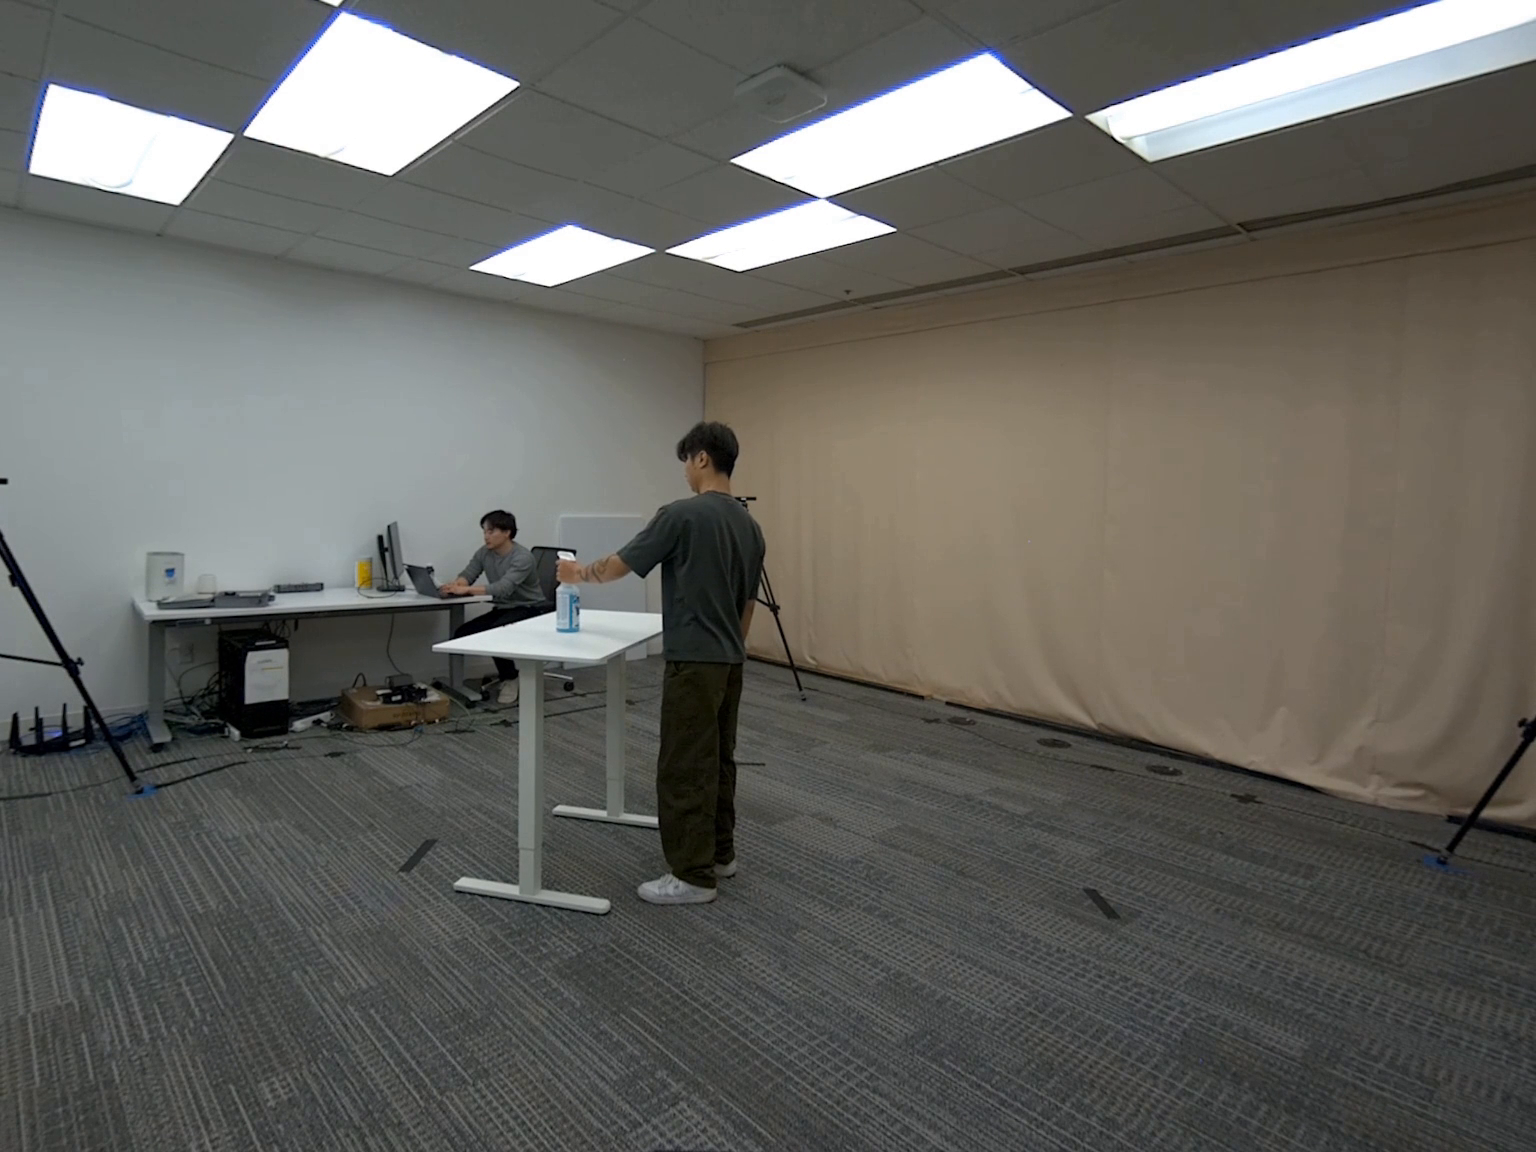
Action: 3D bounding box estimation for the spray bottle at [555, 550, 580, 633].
[{"bbox_3d":[-0.749,0.061,3.148,0.085,0.297,0.092,0,2,-30],"label":"spray bottle"}]
